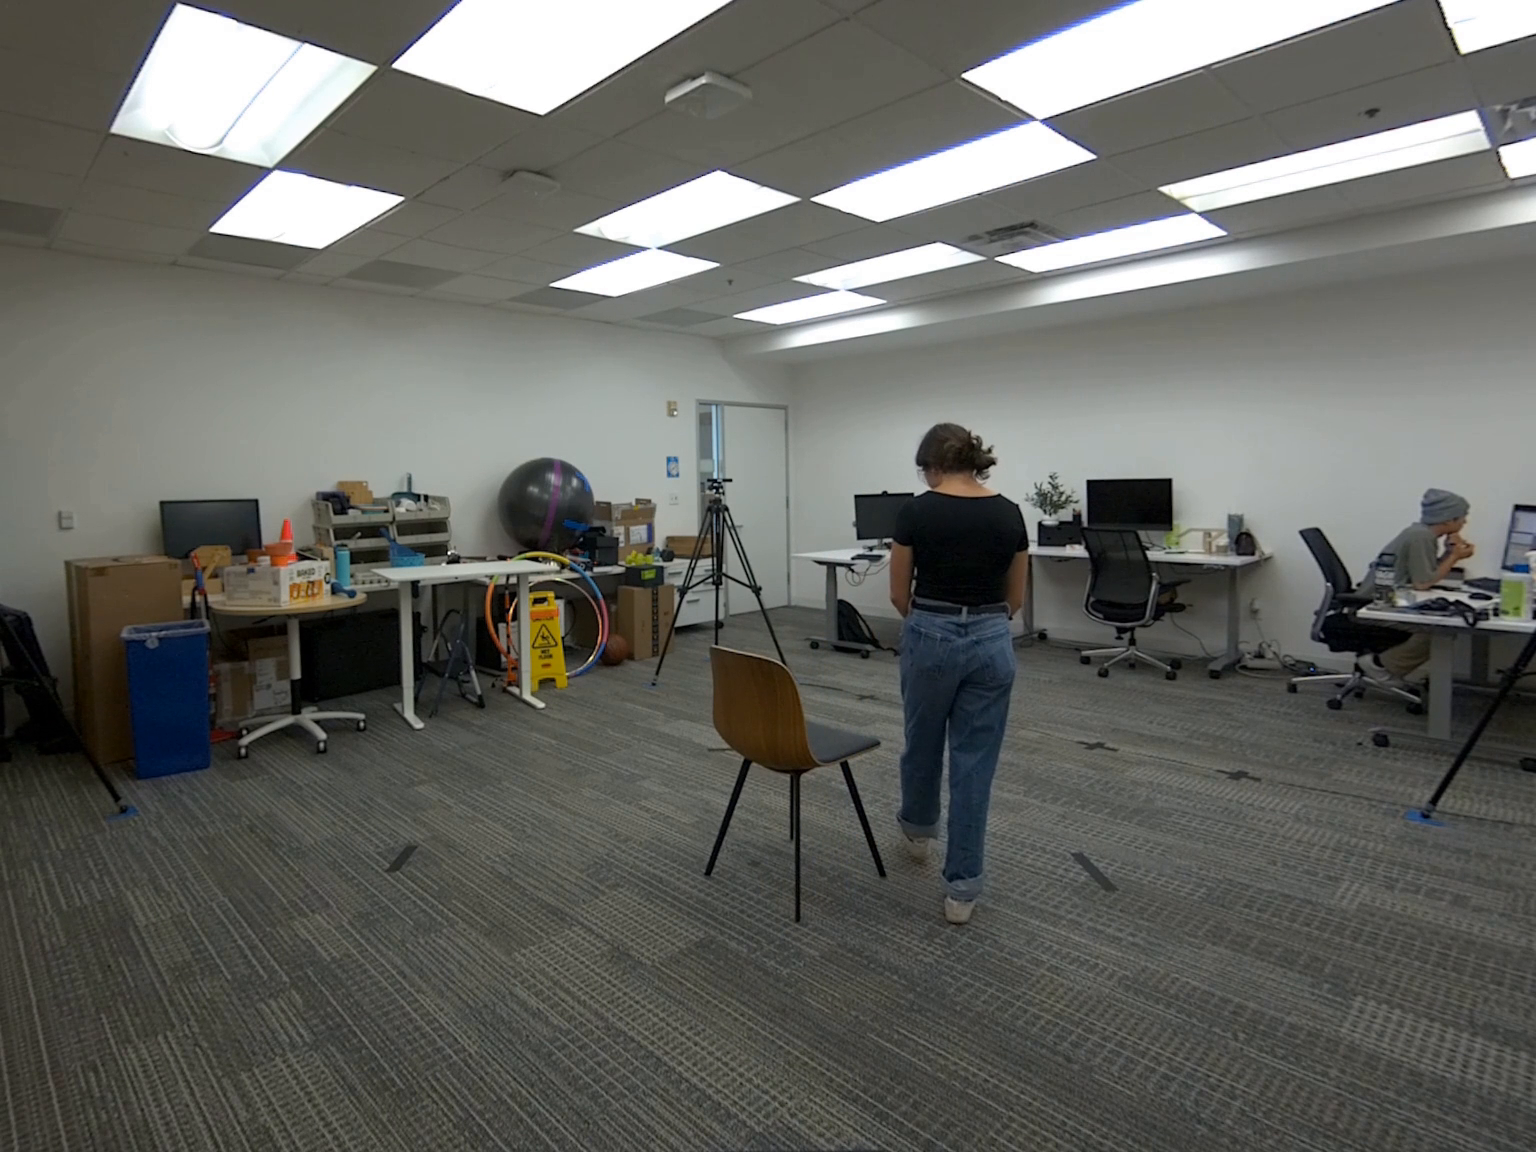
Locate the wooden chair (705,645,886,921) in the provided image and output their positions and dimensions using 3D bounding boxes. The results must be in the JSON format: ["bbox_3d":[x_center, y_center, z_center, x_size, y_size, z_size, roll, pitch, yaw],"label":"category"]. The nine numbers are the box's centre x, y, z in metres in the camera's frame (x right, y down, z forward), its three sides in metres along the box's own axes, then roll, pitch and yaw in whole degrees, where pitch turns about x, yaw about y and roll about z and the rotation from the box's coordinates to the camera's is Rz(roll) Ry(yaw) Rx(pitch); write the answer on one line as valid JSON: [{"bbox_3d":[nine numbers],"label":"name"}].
[{"bbox_3d":[0.095,0.631,2.971,0.511,0.871,0.493,-11,10,-43],"label":"wooden chair"}]
